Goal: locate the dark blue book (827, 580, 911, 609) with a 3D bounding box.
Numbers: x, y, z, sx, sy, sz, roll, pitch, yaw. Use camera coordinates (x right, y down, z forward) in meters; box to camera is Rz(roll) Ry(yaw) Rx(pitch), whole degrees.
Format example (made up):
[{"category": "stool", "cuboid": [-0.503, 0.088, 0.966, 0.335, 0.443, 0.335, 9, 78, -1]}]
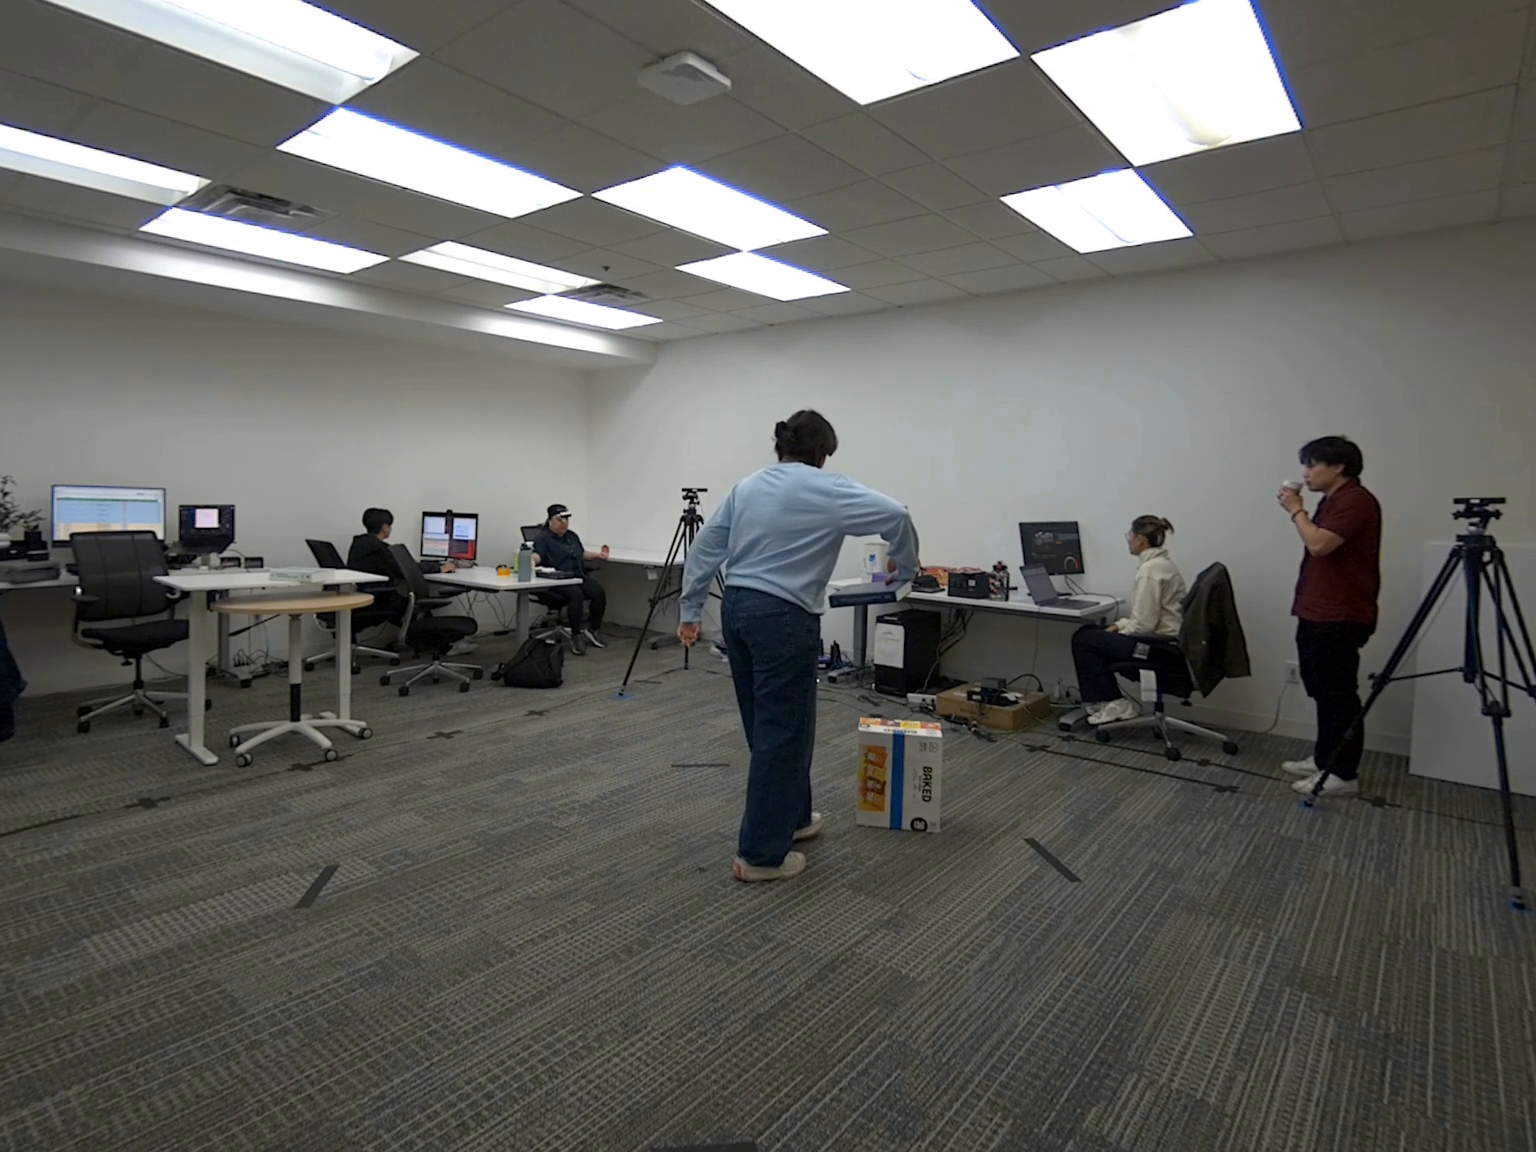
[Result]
[{"category": "dark blue book", "cuboid": [0.340, 0.059, 2.923, 0.251, 0.045, 0.160, -6, 9, 31]}]
